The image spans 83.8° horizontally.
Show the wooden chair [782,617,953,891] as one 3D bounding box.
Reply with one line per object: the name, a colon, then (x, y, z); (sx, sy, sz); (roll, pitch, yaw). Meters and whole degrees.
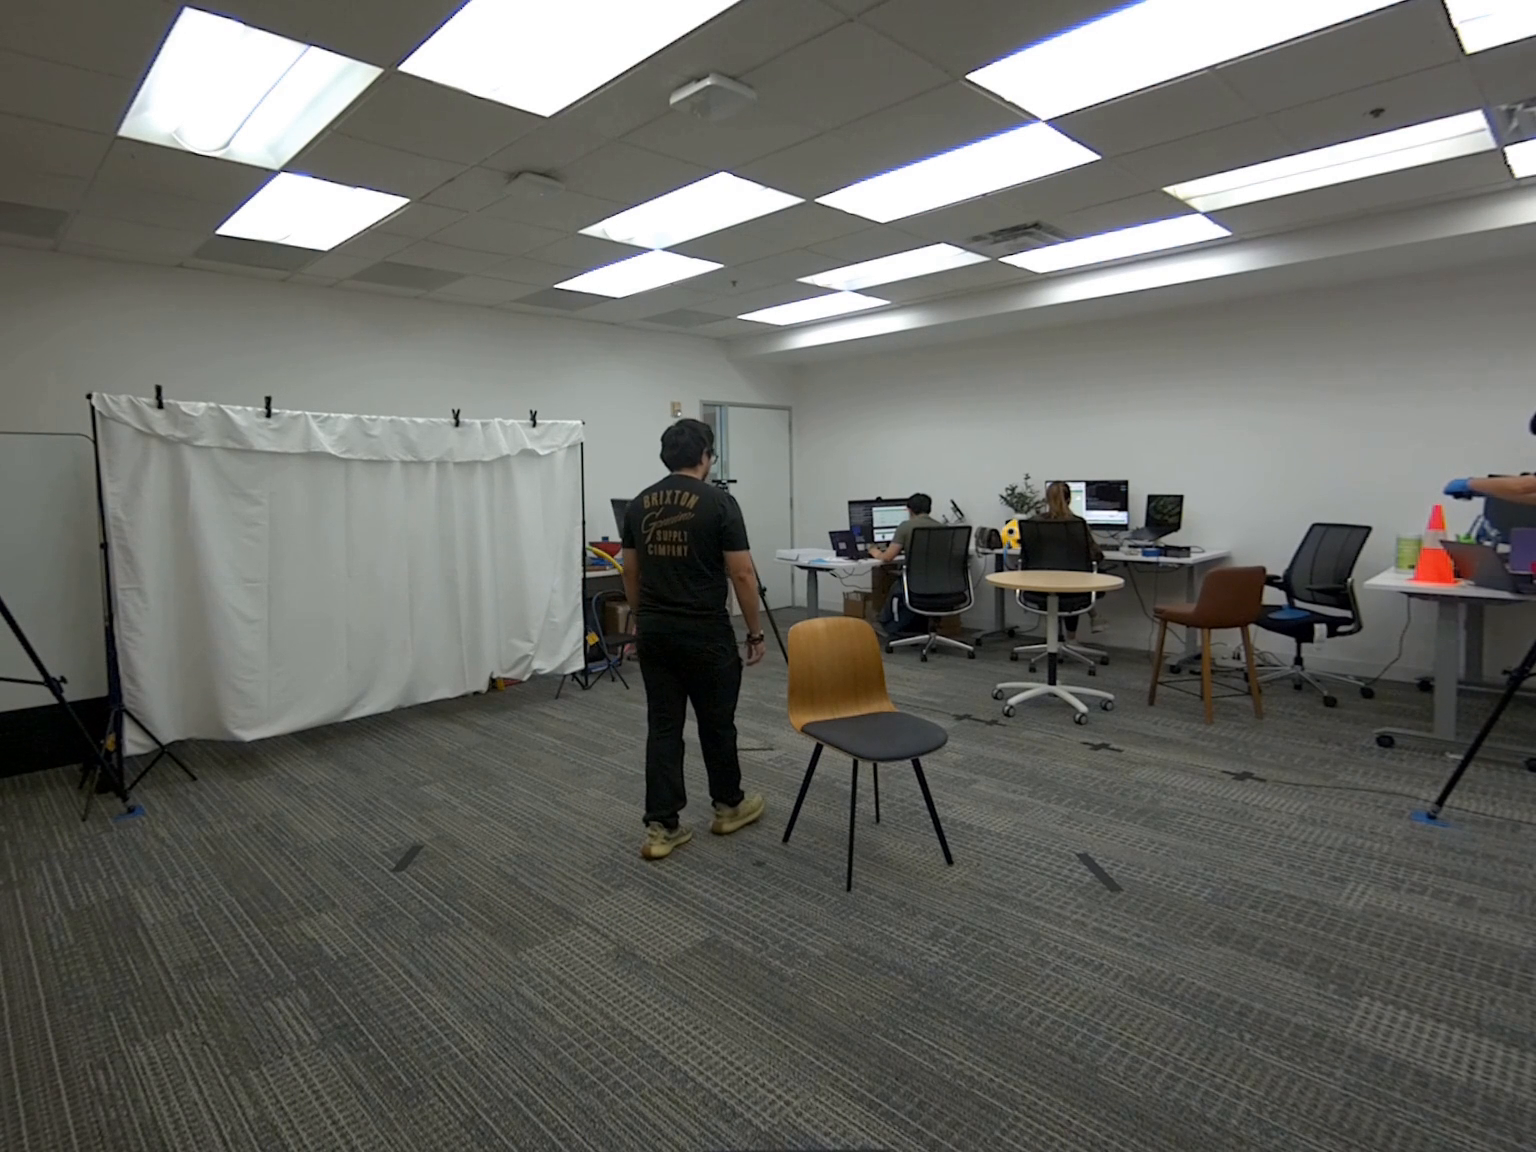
wooden chair: (0.358, 0.609, 3.144); (0.467, 0.878, 0.535); (-2, 0, -27)
